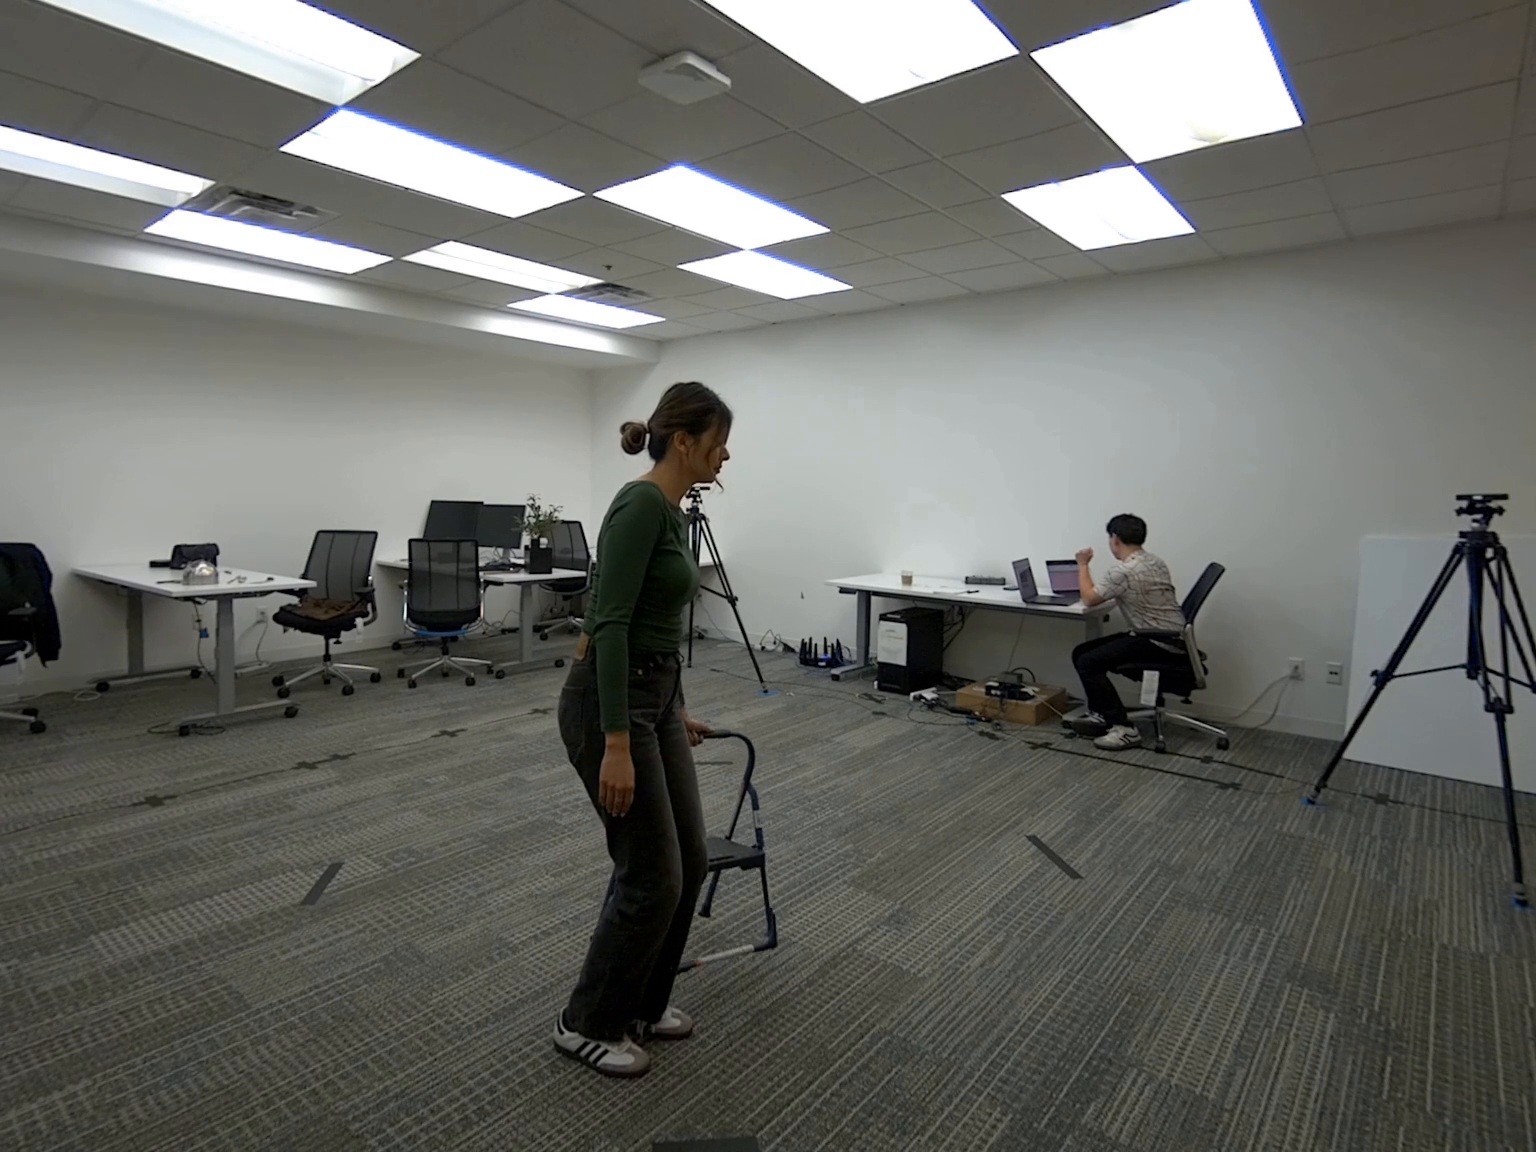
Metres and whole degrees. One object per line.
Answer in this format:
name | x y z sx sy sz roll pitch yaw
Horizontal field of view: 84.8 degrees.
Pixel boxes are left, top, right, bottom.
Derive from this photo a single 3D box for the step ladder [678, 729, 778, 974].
step ladder | -0.229 0.748 2.461 0.416 0.609 0.359 7 -7 -42
